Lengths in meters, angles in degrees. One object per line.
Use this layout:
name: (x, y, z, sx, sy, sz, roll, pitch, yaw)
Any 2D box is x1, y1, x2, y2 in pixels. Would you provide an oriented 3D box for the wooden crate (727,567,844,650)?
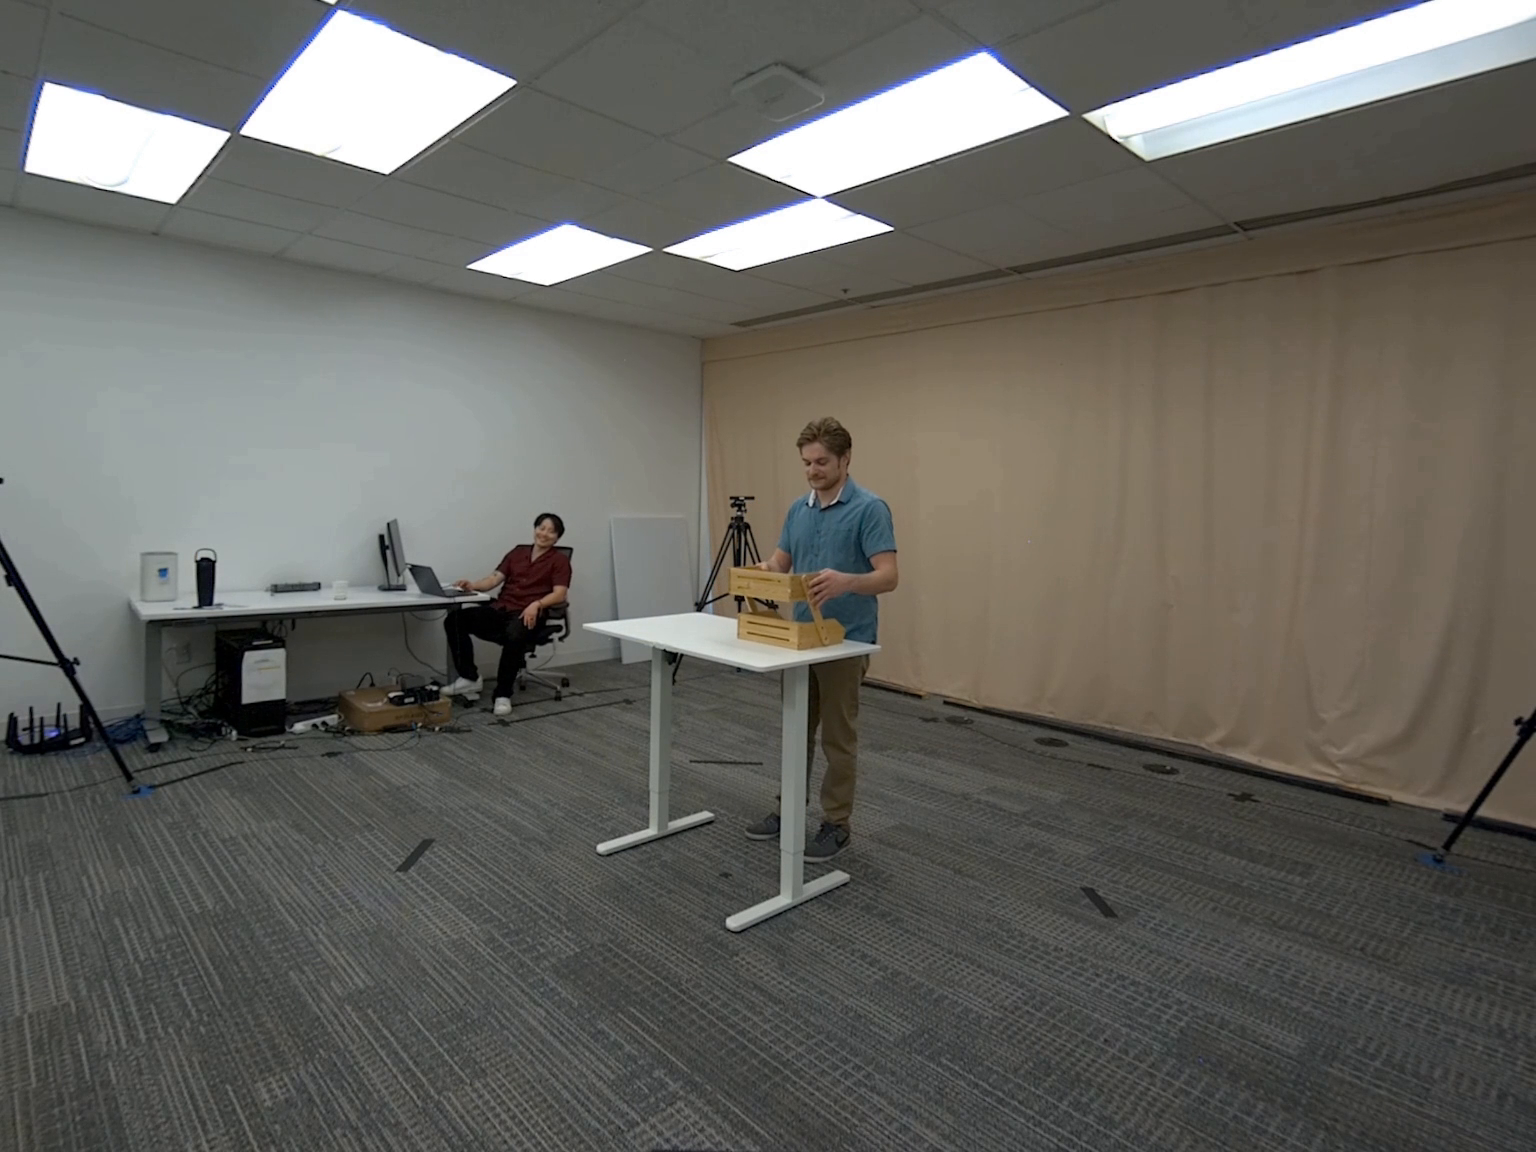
wooden crate: (0.059, 0.105, 3.012, 0.333, 0.272, 0.295, 6, 7, 44)
